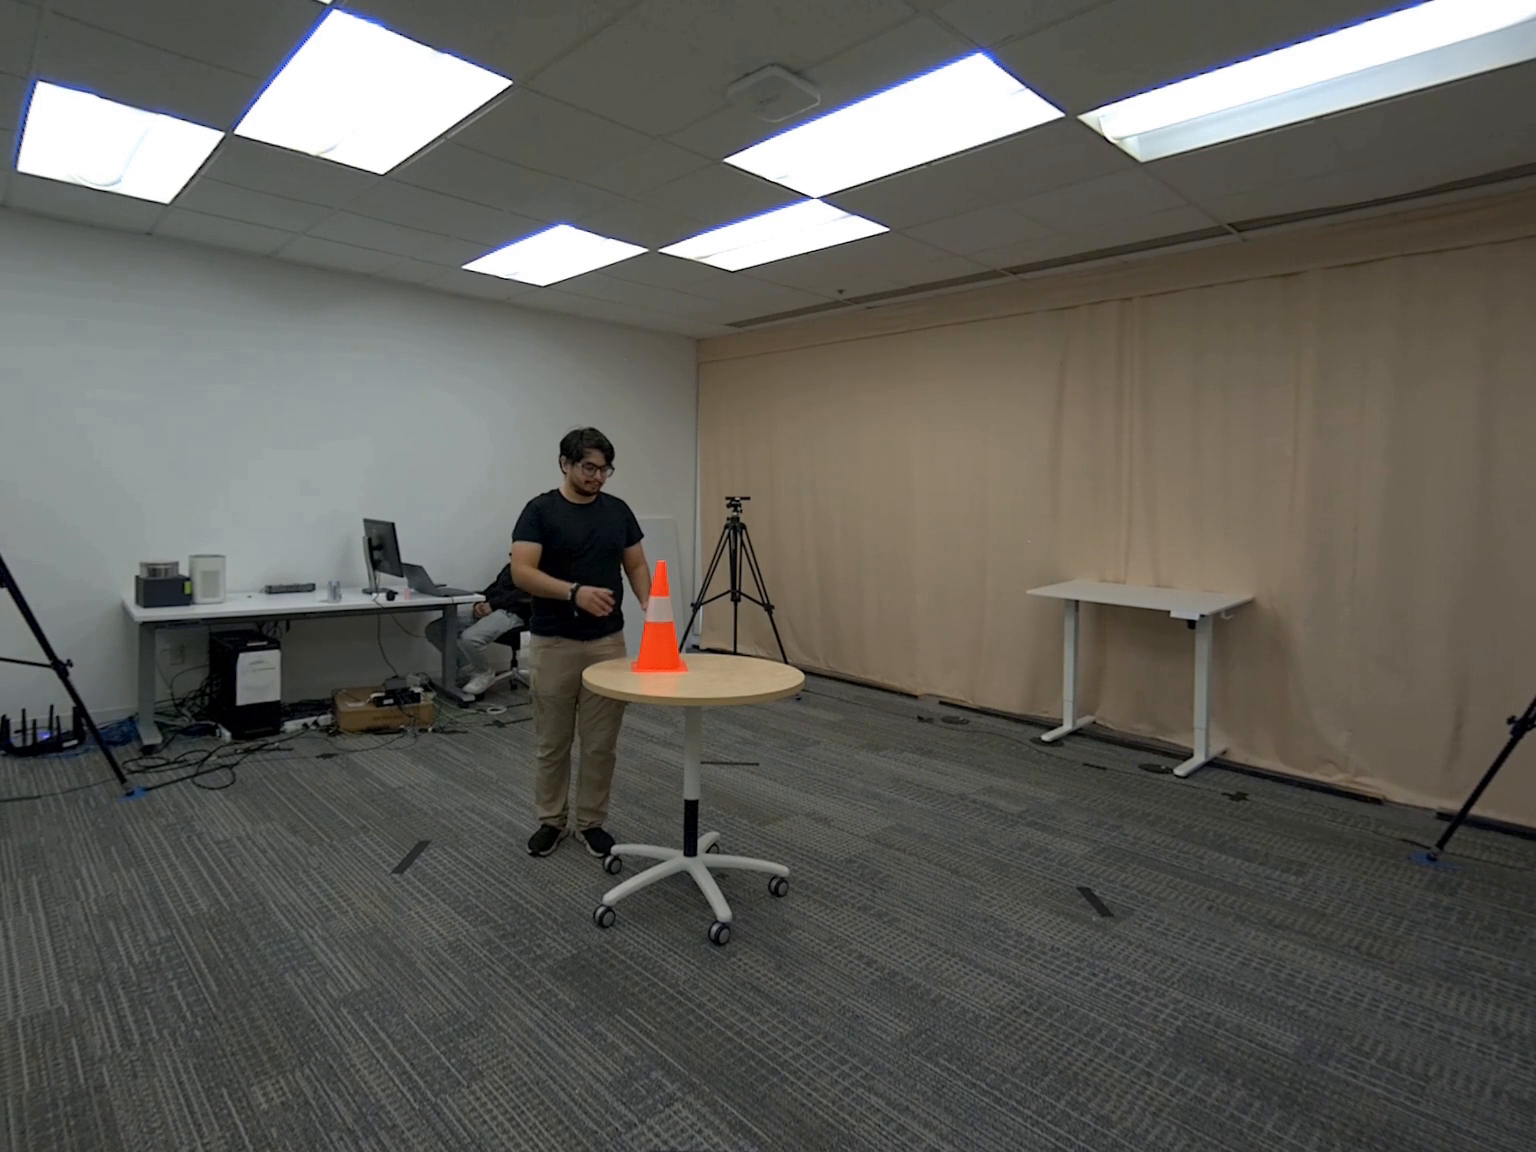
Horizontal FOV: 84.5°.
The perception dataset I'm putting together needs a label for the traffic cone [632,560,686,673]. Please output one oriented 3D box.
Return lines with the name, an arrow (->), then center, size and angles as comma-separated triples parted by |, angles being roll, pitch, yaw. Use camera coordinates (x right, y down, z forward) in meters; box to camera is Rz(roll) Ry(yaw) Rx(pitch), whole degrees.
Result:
traffic cone -> -0.393, 0.139, 3.008 | 0.202, 0.383, 0.206 | 2, 2, -16
